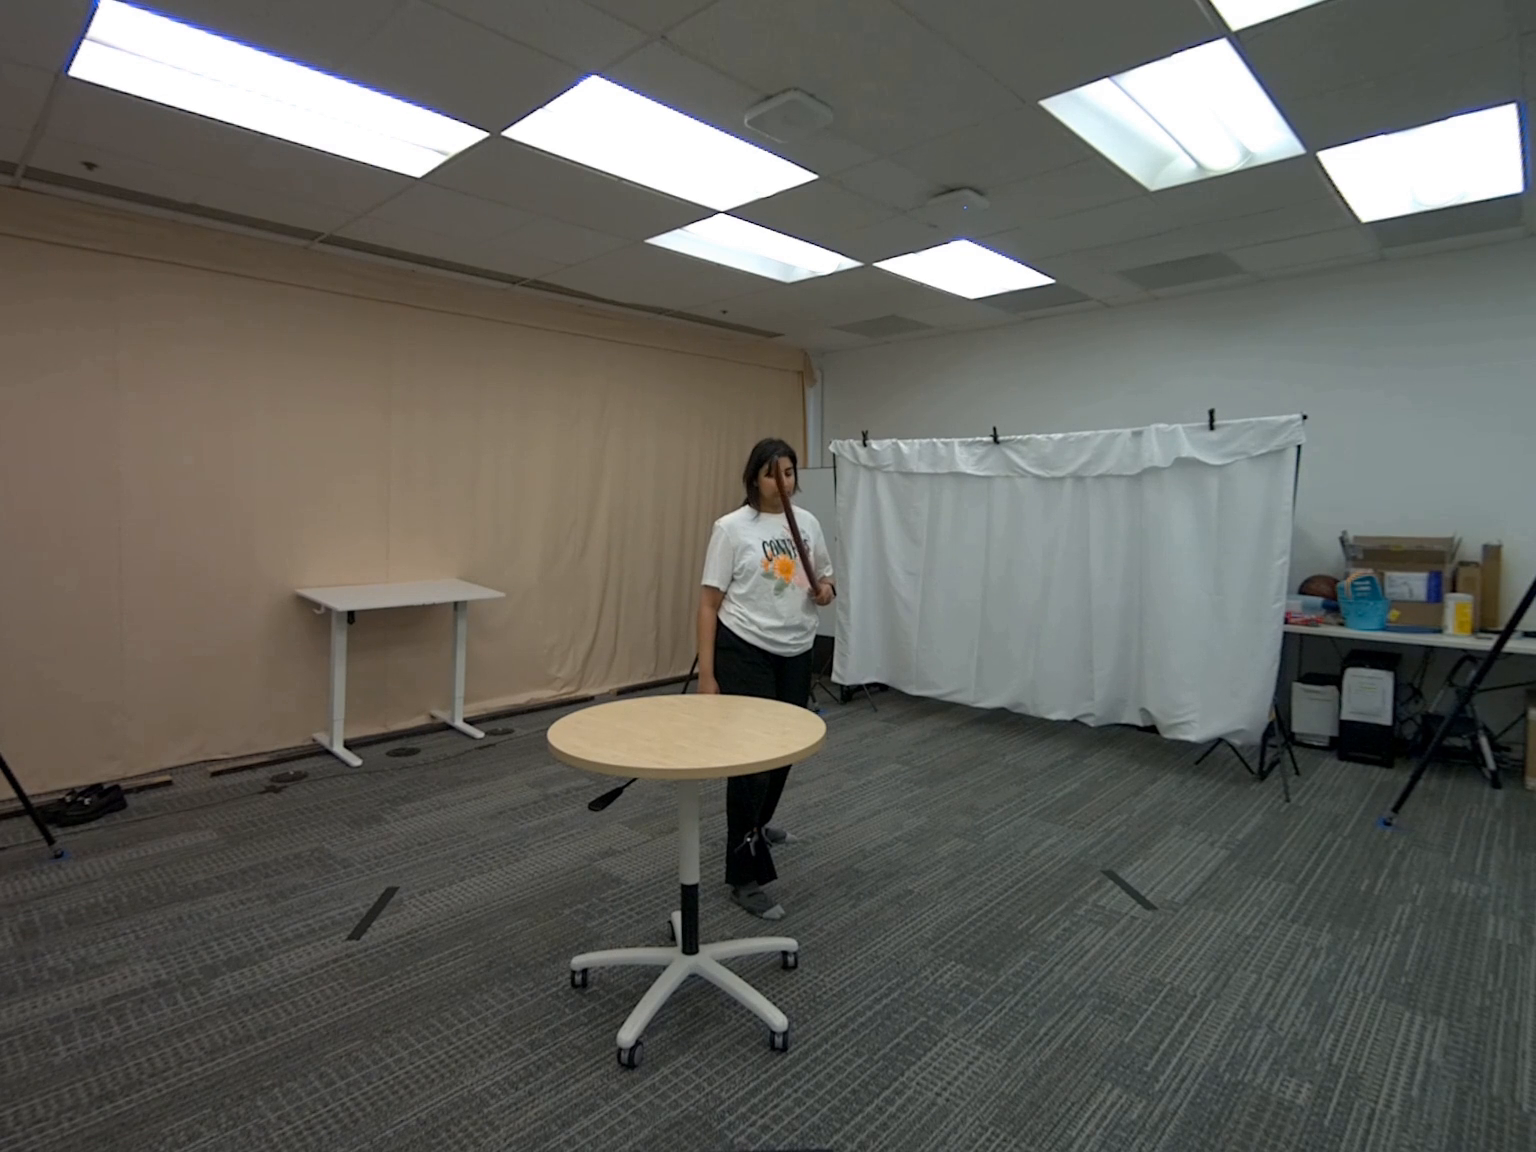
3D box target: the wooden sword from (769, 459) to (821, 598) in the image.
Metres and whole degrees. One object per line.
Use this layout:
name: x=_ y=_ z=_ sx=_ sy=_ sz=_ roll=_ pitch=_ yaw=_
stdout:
wooden sword: x=0.114 y=-0.091 z=2.711 sx=0.051 sy=0.025 sz=0.997 roll=-21 pitch=-29 yaw=2
